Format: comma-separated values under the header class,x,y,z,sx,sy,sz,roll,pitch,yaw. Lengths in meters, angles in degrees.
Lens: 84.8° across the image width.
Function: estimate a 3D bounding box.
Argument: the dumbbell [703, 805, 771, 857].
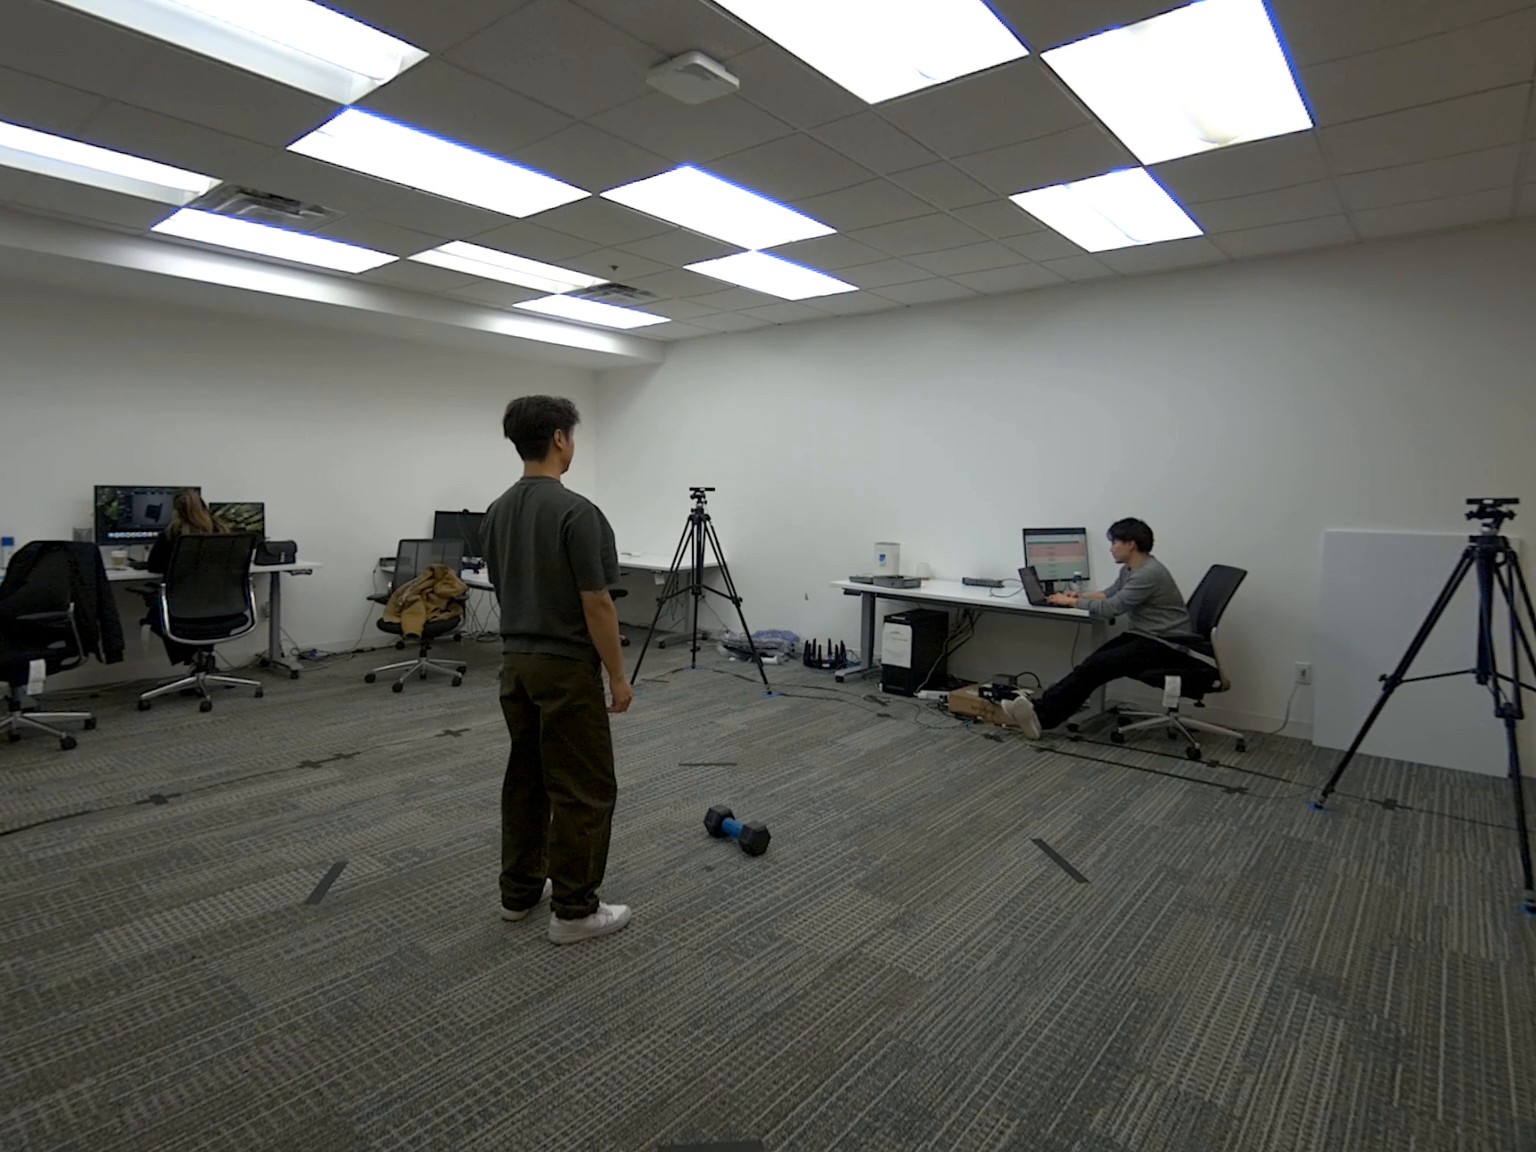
class,x,y,z,sx,sy,sz,roll,pitch,yaw
dumbbell,-0.132,0.989,3.338,0.303,0.124,0.104,7,-25,49
